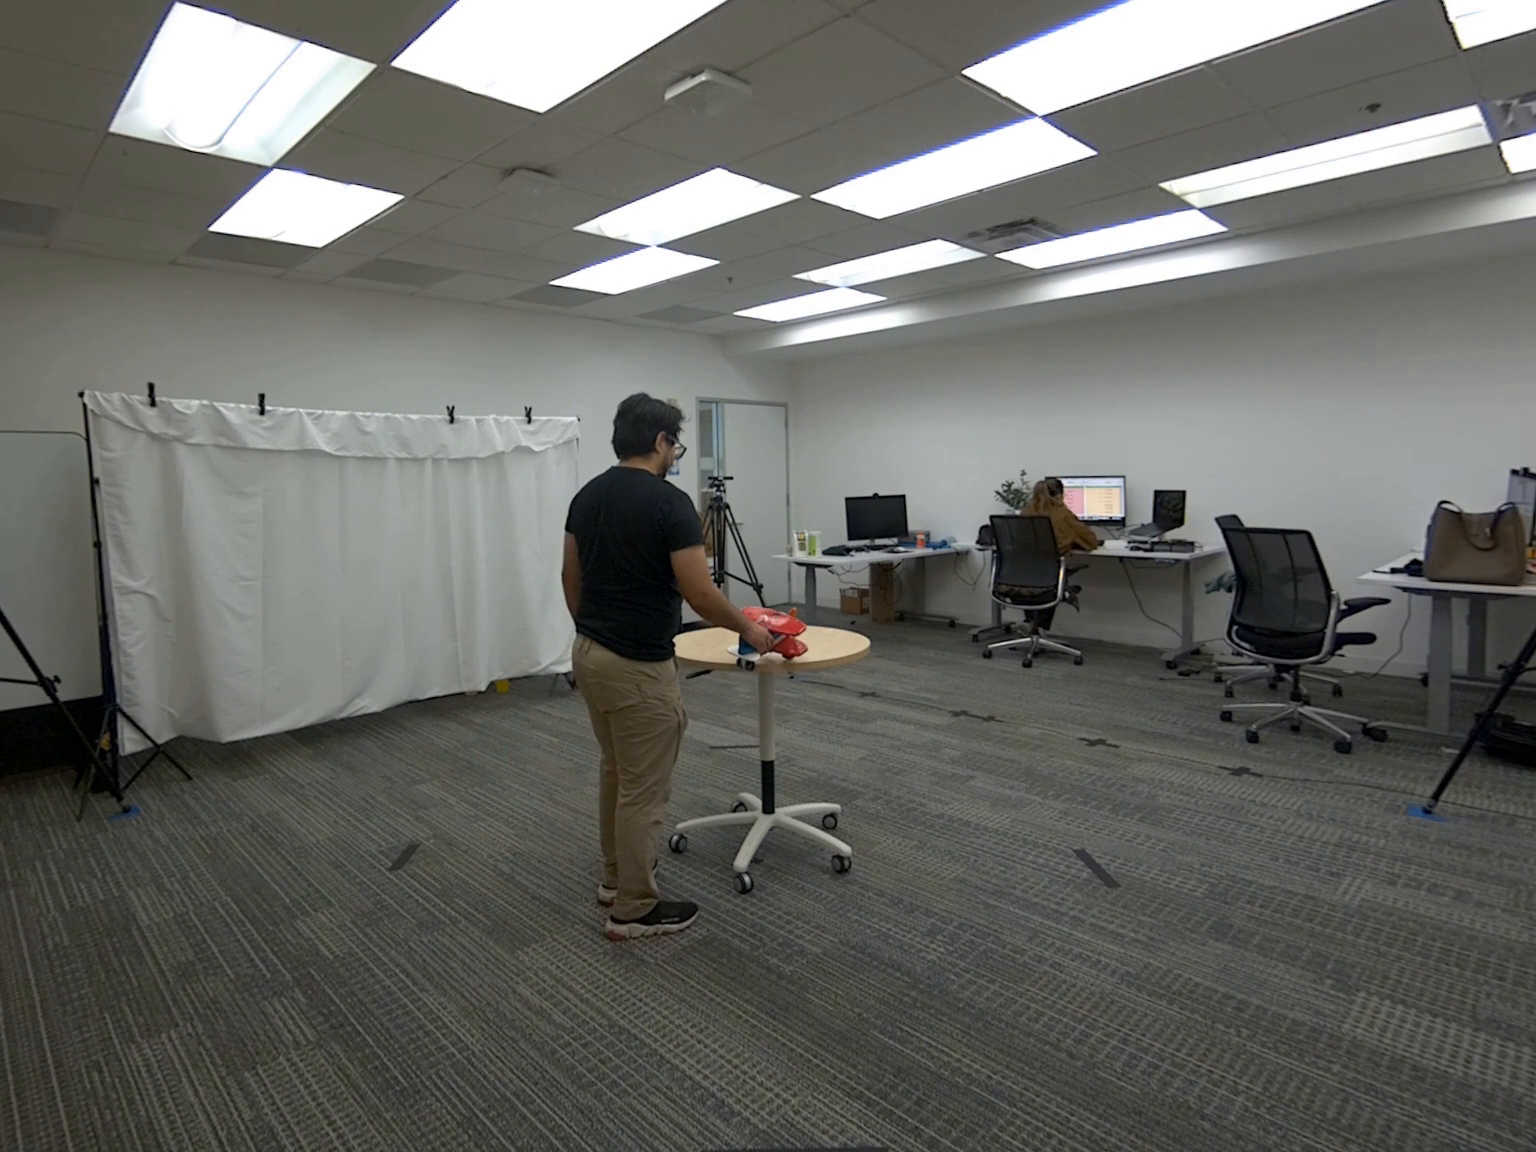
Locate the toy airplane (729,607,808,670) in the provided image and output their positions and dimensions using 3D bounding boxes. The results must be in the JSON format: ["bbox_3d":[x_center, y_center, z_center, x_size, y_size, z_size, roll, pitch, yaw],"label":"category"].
[{"bbox_3d":[0.010,0.209,2.778,0.253,0.155,0.260,5,14,7],"label":"toy airplane"}]
